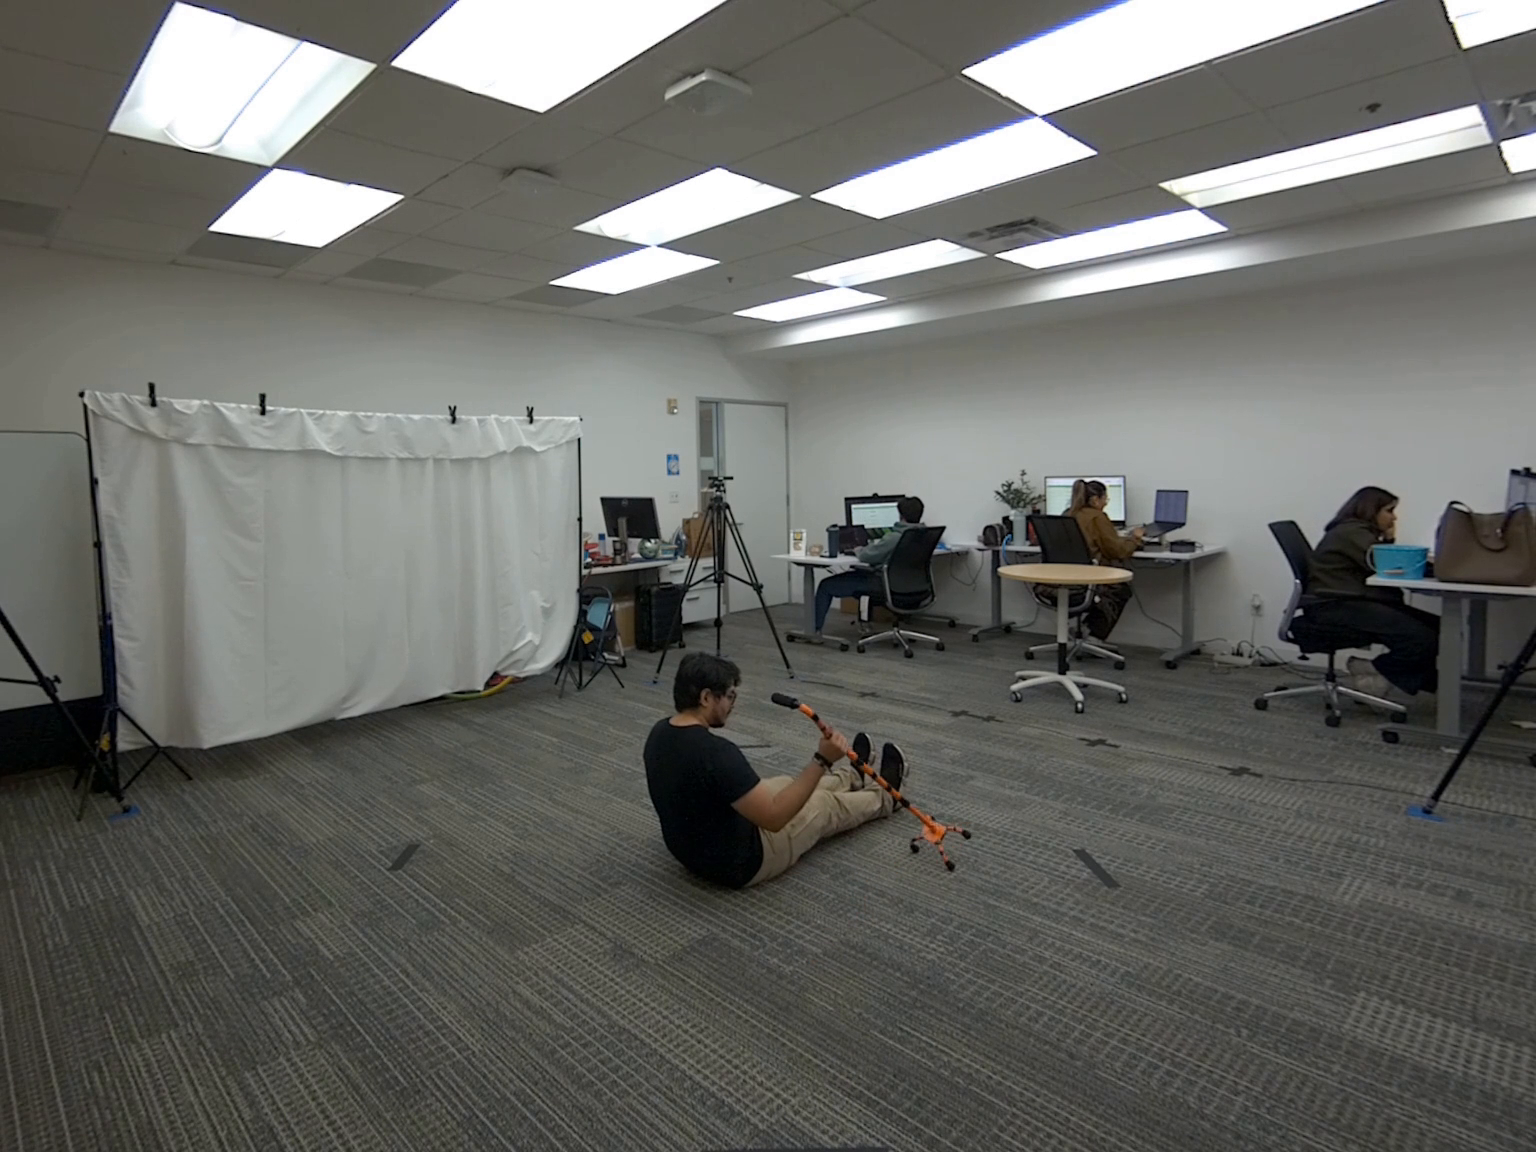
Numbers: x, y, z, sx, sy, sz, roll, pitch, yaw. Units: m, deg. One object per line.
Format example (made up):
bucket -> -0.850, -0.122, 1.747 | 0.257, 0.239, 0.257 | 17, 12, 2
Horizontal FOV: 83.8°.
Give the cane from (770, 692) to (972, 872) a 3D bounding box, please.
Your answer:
cane -> 0.343, 0.679, 2.912 | 0.881, 0.152, 0.212 | 44, -21, -24
